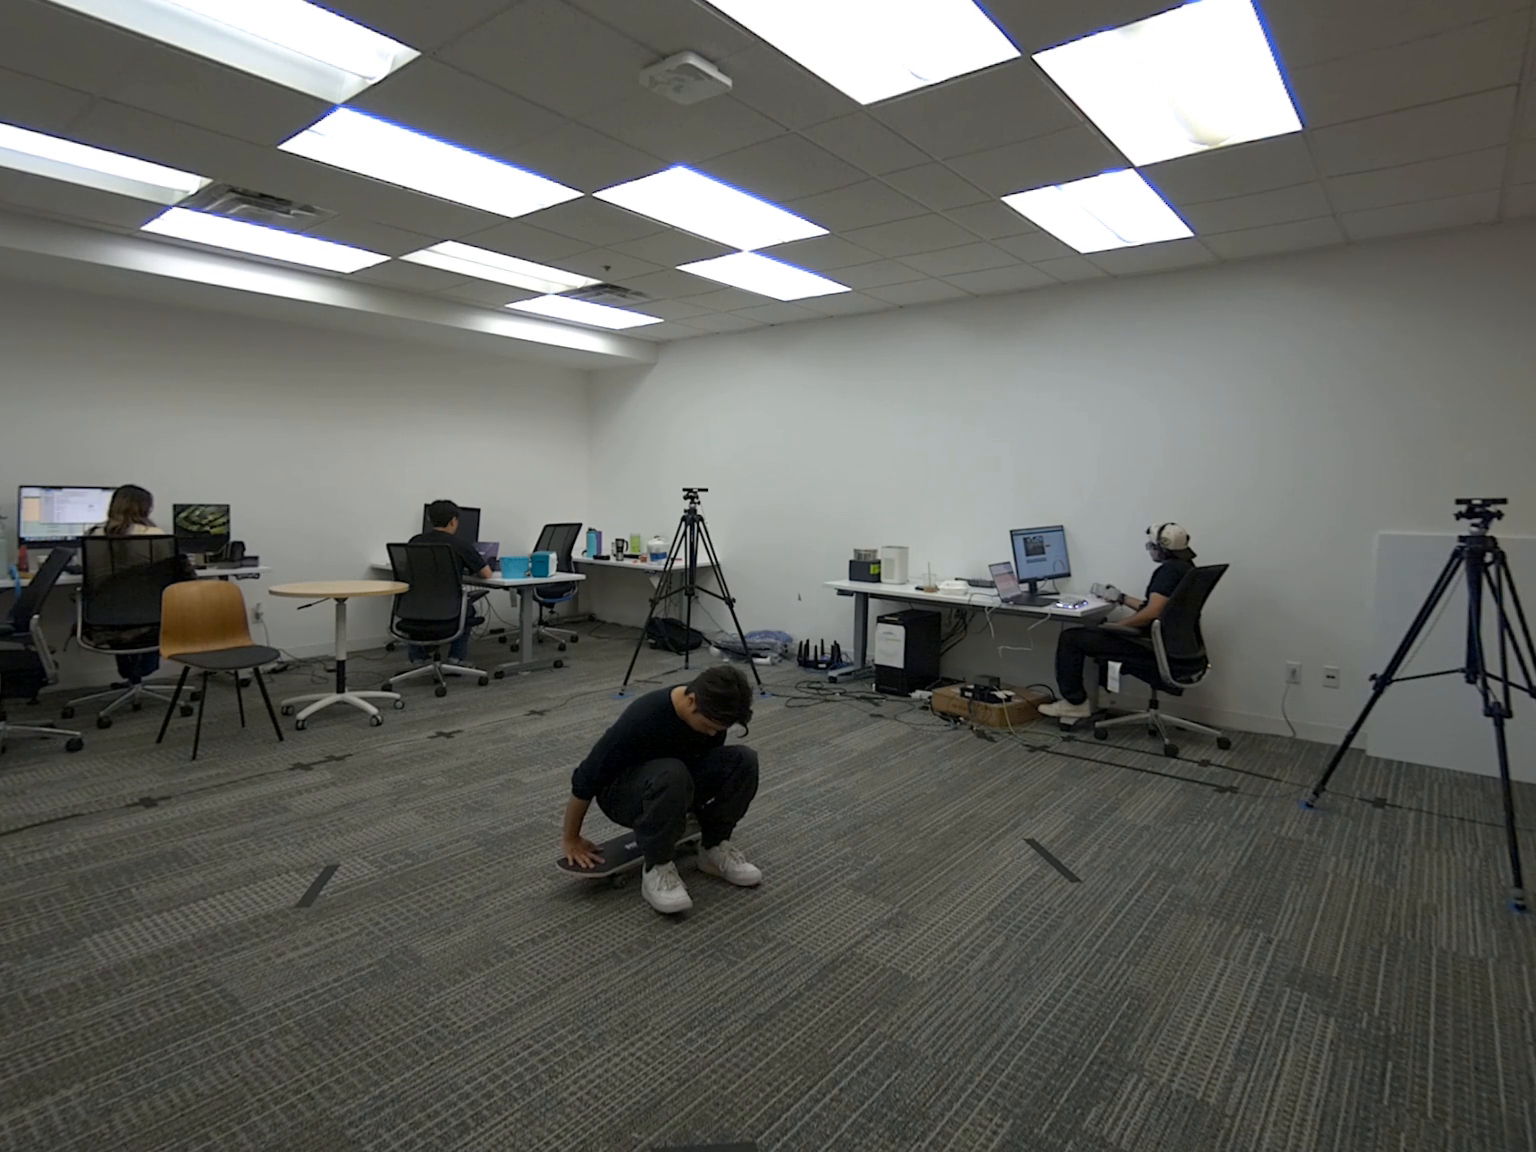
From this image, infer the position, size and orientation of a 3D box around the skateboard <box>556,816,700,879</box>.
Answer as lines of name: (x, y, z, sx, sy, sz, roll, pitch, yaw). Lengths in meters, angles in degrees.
skateboard: (-0.458, 1.006, 3.152, 0.200, 0.110, 0.762, 6, 7, 40)
